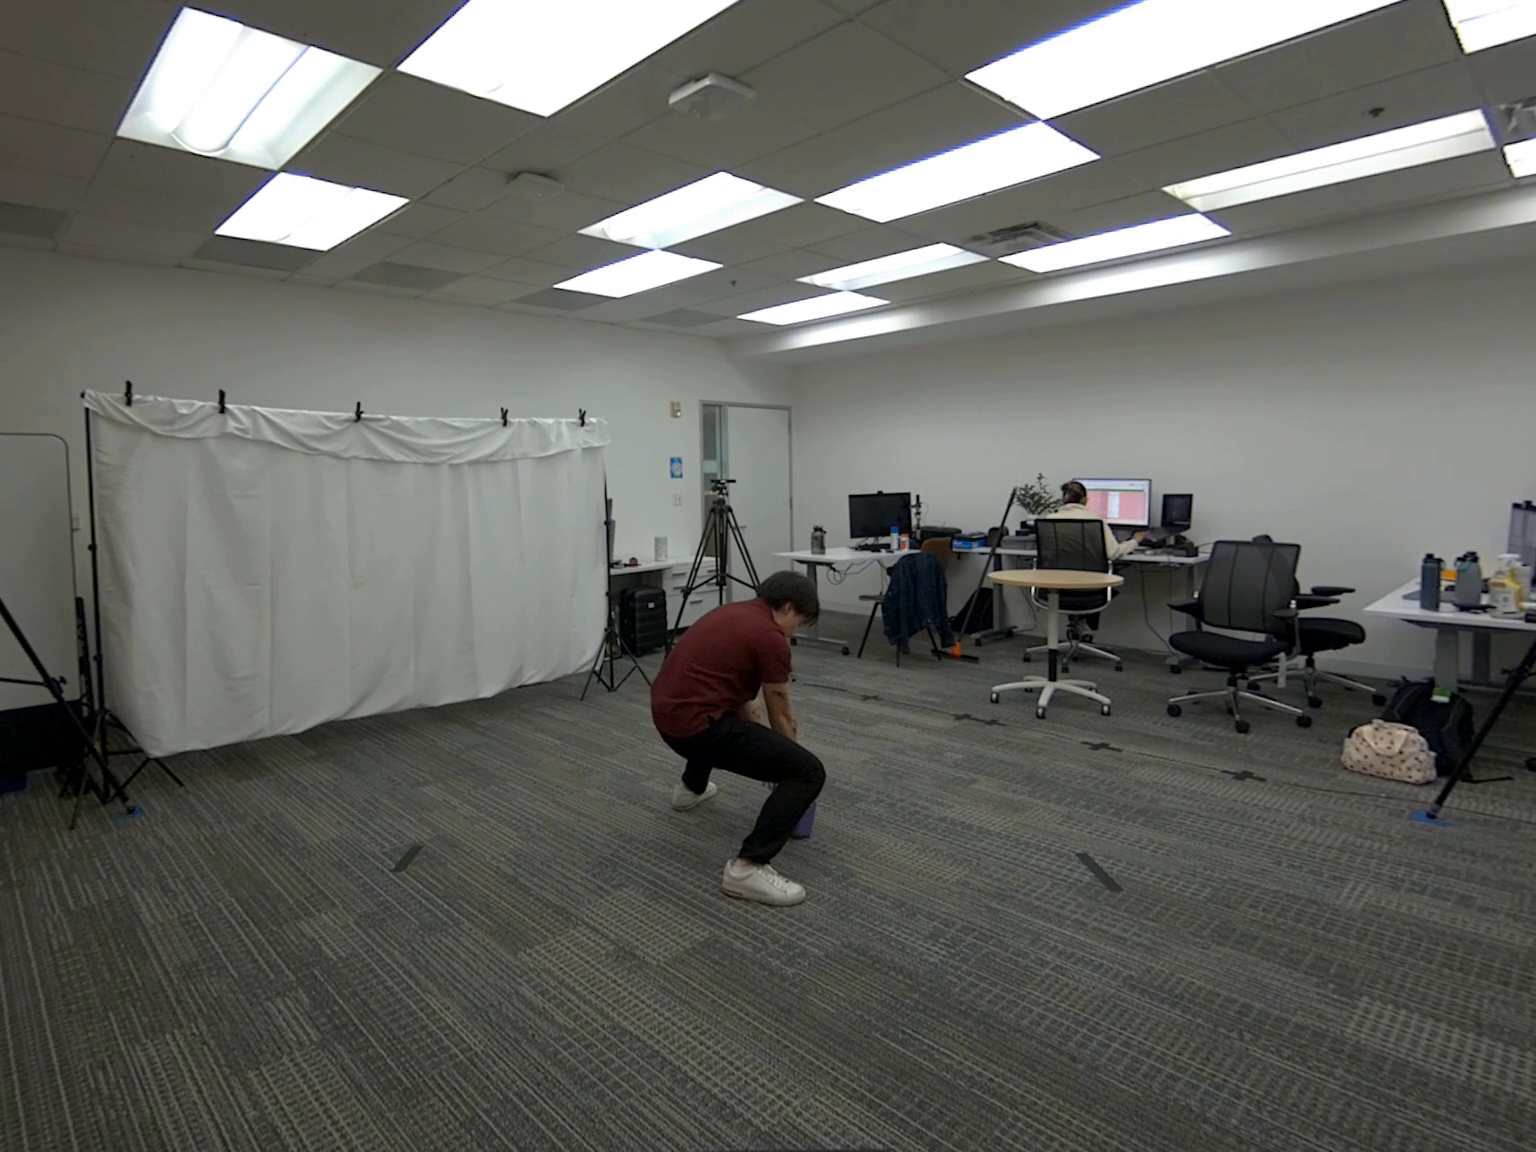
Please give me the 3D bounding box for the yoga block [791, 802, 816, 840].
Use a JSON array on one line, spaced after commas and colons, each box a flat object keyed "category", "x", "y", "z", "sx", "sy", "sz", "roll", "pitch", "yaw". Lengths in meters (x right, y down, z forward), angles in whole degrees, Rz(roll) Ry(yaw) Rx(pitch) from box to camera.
[{"category": "yoga block", "x": 0.101, "y": 0.929, "z": 3.415, "sx": 0.074, "sy": 0.149, "sz": 0.235, "roll": 9, "pitch": -1, "yaw": -28}]
